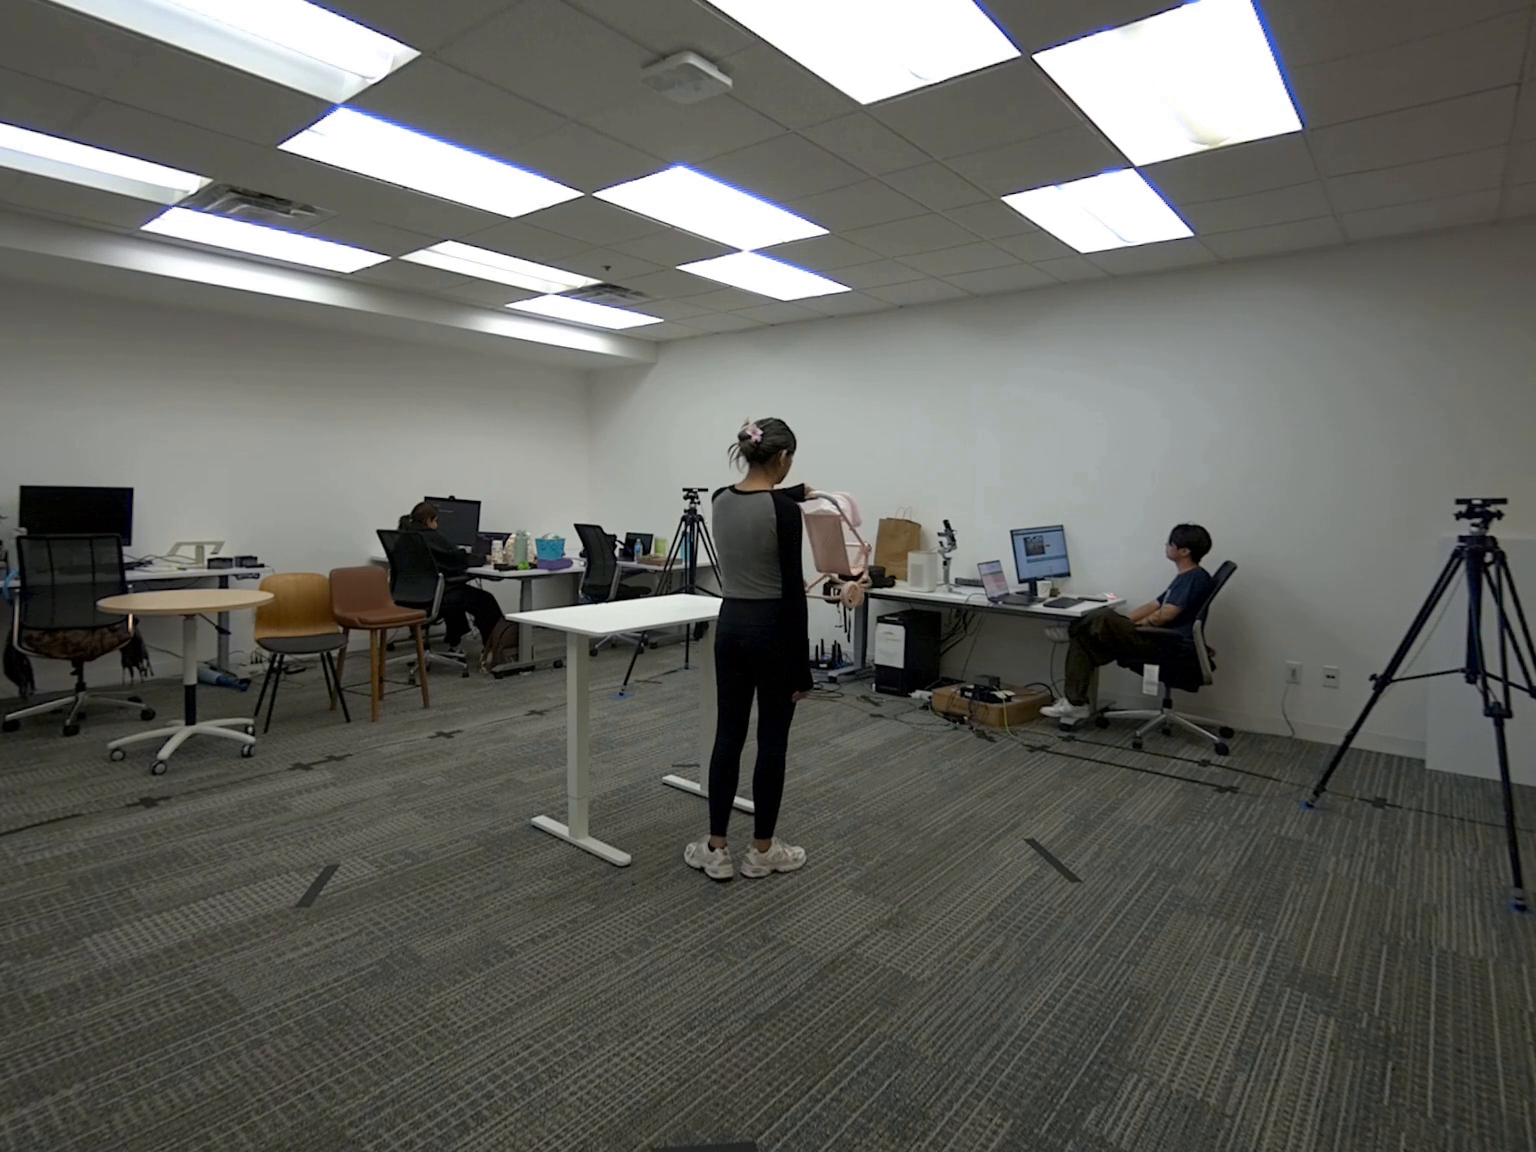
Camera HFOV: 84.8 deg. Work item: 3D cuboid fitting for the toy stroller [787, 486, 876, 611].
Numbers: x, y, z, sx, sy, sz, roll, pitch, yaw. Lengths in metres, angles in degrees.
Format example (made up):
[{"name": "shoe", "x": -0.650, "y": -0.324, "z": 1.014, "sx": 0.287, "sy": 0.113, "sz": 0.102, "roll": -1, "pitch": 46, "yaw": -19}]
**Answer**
[{"name": "toy stroller", "x": 0.274, "y": -0.108, "z": 3.496, "sx": 0.291, "sy": 0.529, "sz": 0.333, "roll": 4, "pitch": 14, "yaw": 42}]
